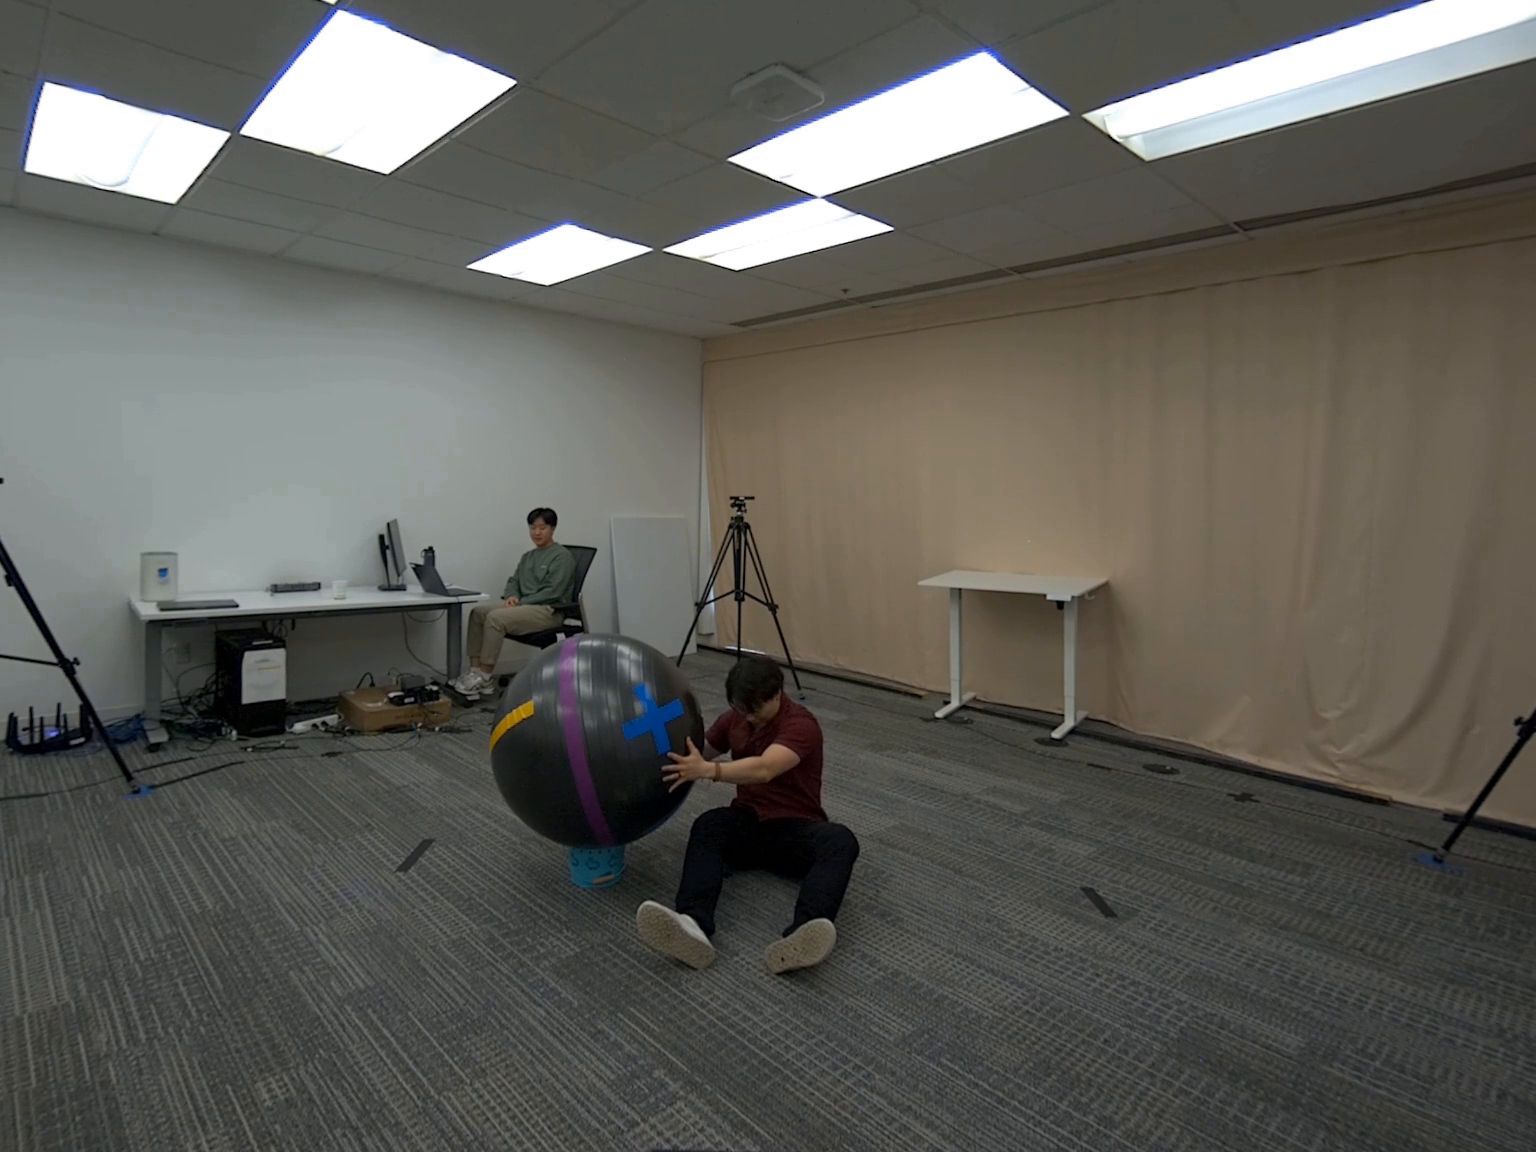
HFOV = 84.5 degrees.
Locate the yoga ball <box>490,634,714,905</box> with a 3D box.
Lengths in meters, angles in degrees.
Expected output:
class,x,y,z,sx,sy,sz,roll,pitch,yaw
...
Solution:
class,x,y,z,sx,sy,sz,roll,pitch,yaw
yoga ball,-0.622,0.591,3.036,0.757,0.756,0.761,1,4,-1
